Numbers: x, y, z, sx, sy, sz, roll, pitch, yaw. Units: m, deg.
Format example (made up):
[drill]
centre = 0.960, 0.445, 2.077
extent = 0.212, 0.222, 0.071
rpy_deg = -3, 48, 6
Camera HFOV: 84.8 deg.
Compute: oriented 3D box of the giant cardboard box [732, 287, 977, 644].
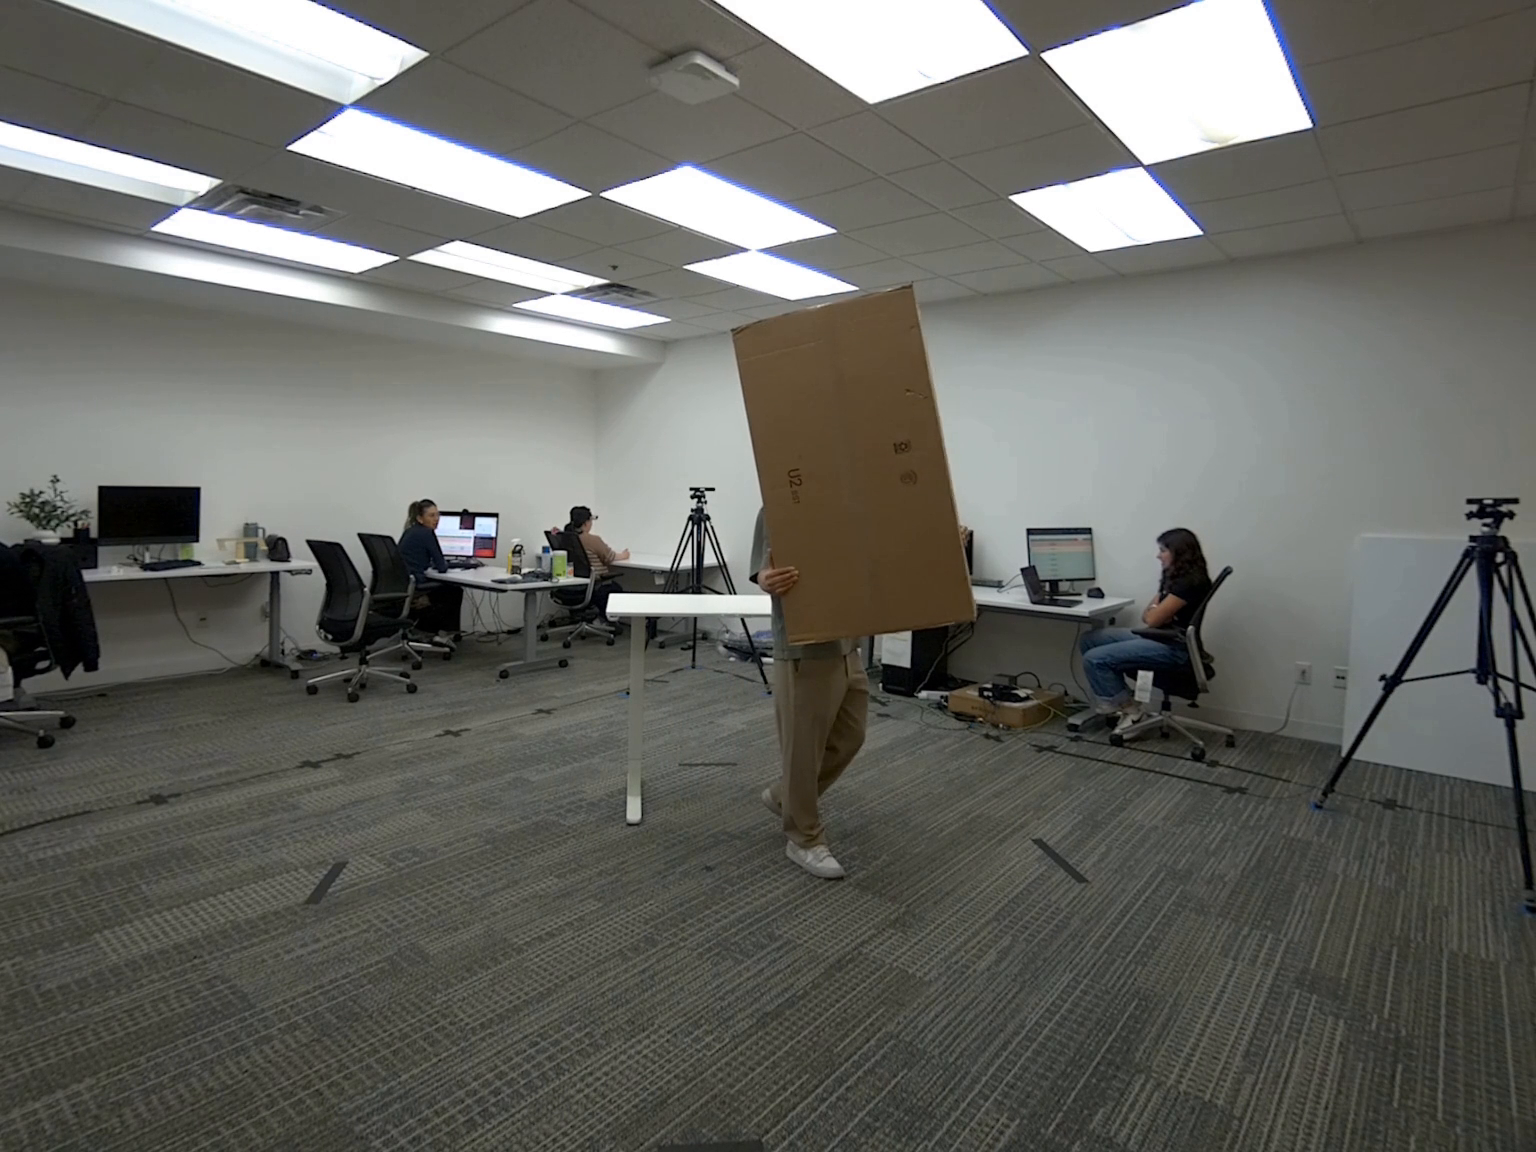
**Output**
[giant cardboard box]
centre = 0.287, -0.340, 2.797
extent = 0.586, 1.026, 0.420
rpy_deg = -10, 0, 16
